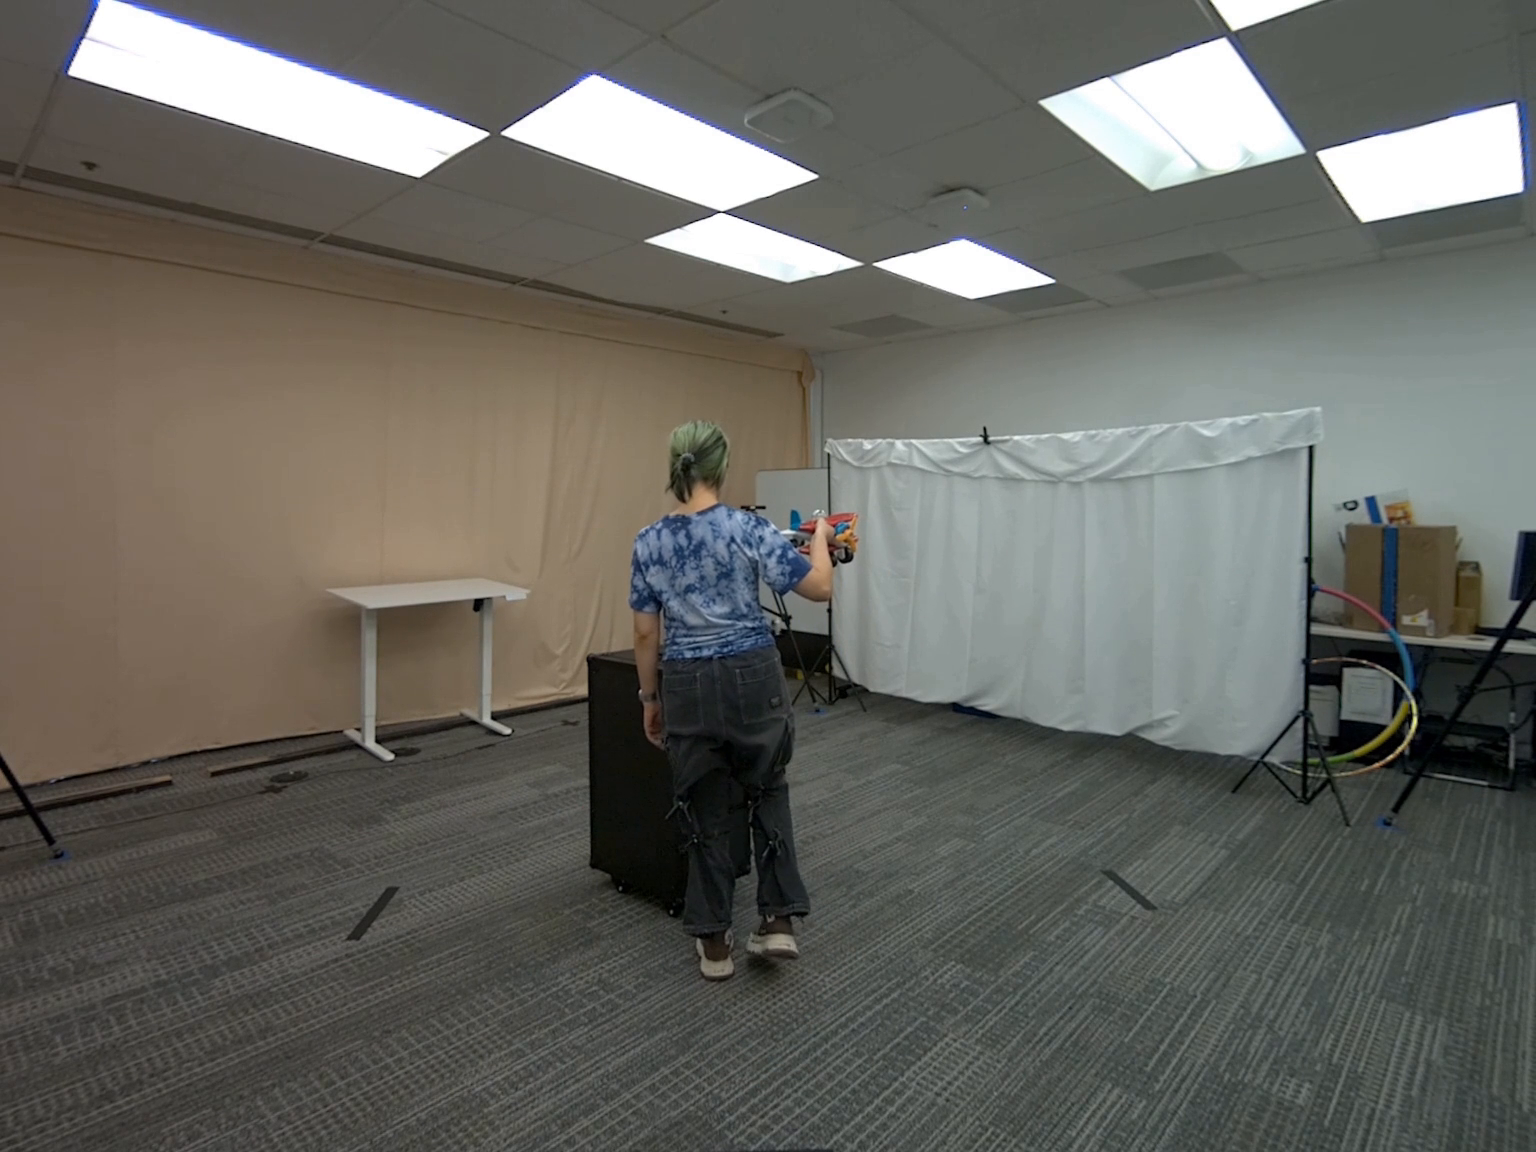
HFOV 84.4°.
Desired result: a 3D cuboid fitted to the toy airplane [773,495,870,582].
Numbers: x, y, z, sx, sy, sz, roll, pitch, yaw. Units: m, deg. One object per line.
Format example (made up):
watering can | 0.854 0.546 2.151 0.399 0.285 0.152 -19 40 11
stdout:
toy airplane | 0.168 -0.131 2.772 0.264 0.155 0.250 12 25 13
